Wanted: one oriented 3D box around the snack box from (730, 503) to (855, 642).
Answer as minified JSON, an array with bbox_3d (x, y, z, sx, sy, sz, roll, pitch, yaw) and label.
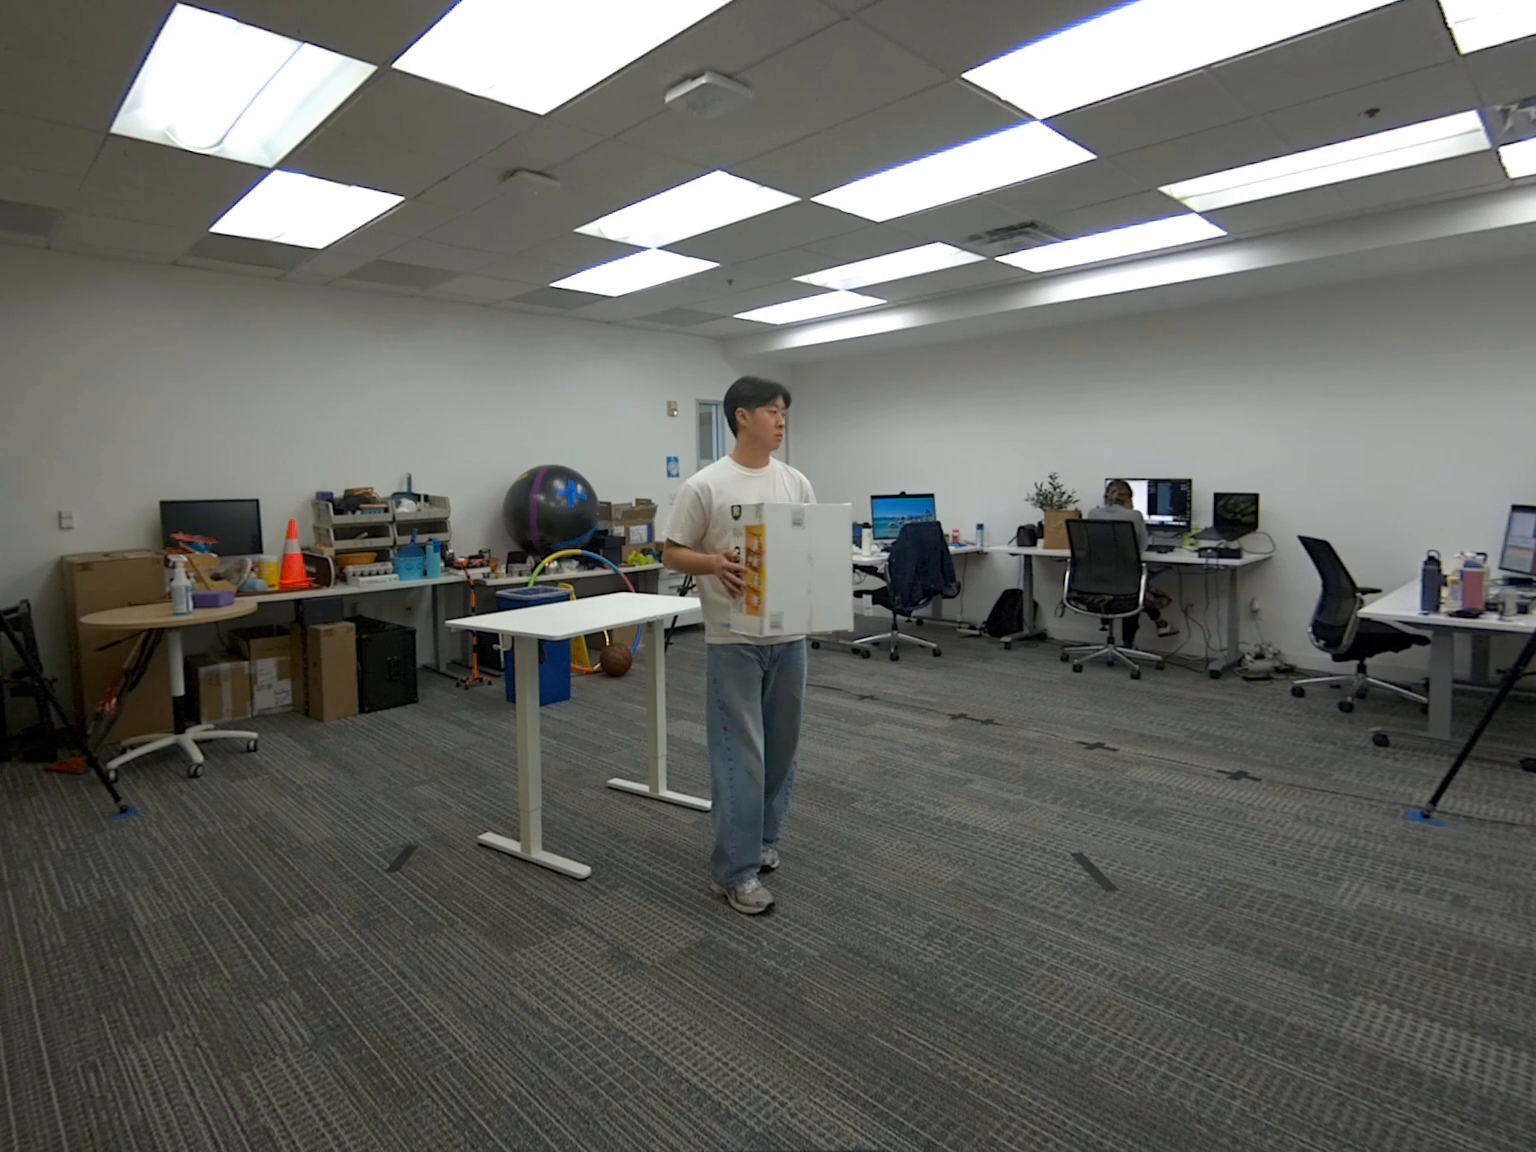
[{"bbox_3d":[0.073,-0.028,2.715,0.332,0.405,0.211,-1,0,-30],"label":"snack box"}]
